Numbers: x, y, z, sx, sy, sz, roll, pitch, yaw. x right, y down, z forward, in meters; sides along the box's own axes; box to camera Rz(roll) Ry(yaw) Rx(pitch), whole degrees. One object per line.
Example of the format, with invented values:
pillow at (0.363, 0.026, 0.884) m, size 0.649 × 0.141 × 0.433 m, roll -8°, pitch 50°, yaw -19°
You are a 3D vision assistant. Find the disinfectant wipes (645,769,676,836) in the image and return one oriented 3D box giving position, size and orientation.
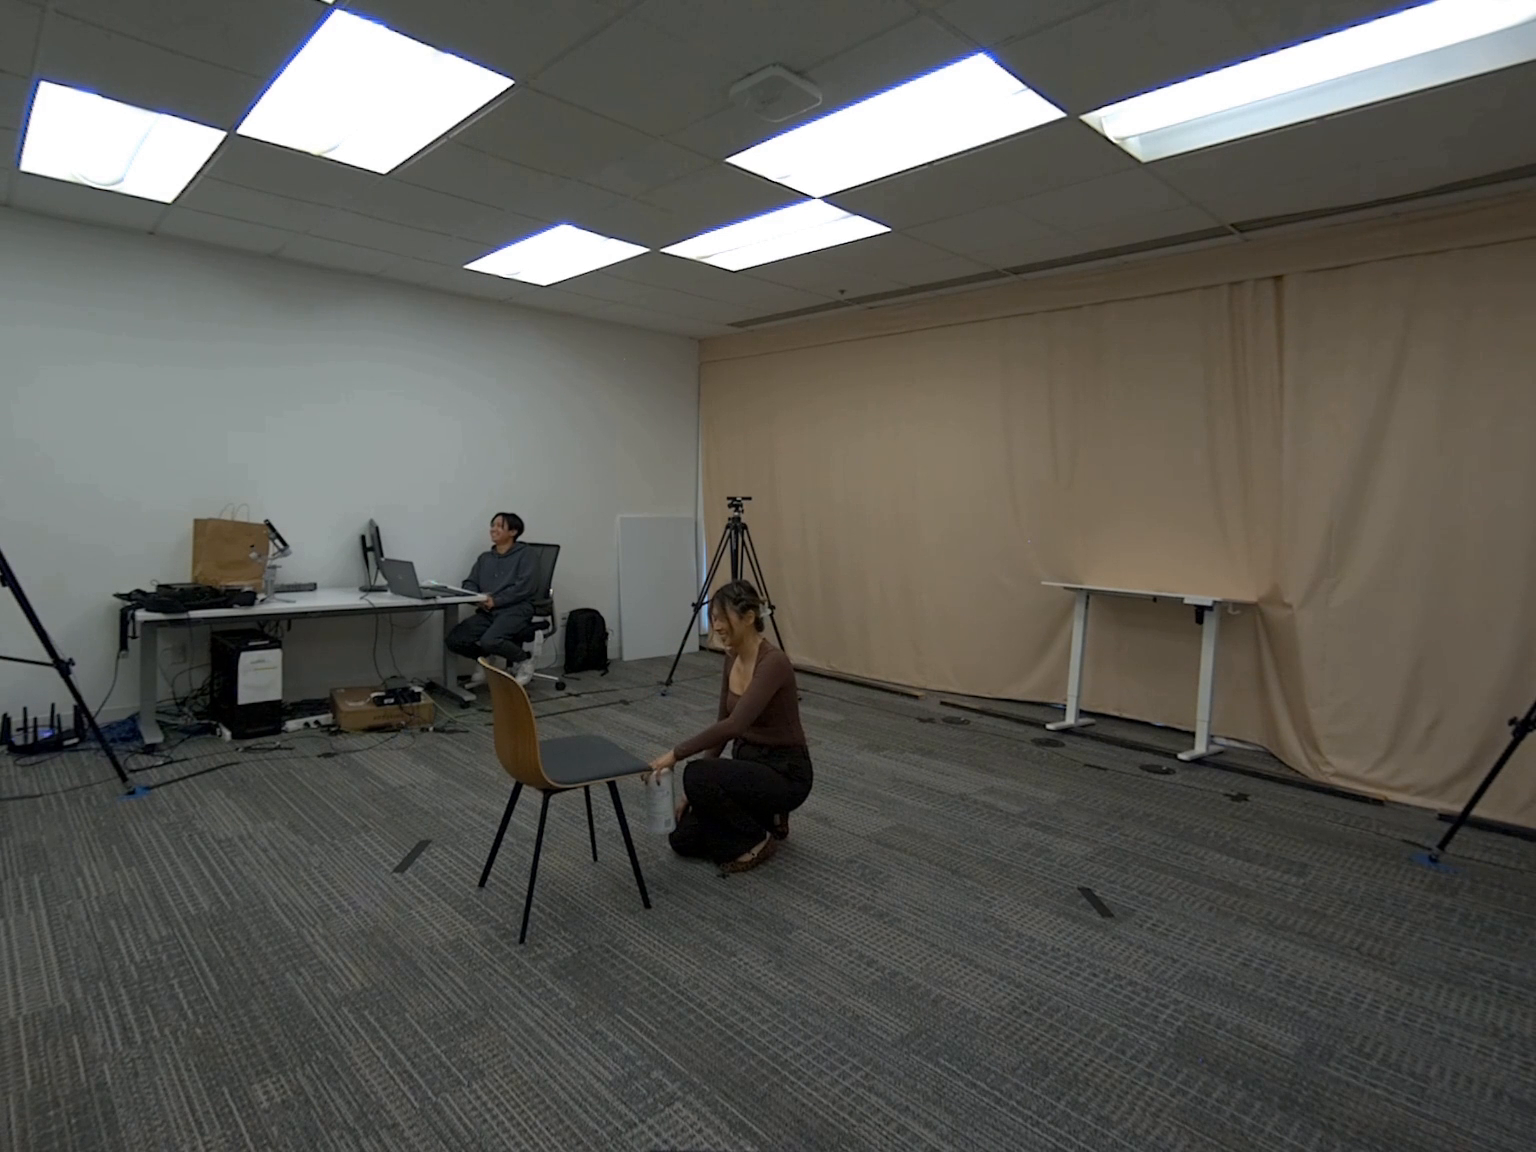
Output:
disinfectant wipes at (-0.399, 0.825, 3.096) m, size 0.118 × 0.217 × 0.118 m, roll -3°, pitch 4°, yaw -1°
